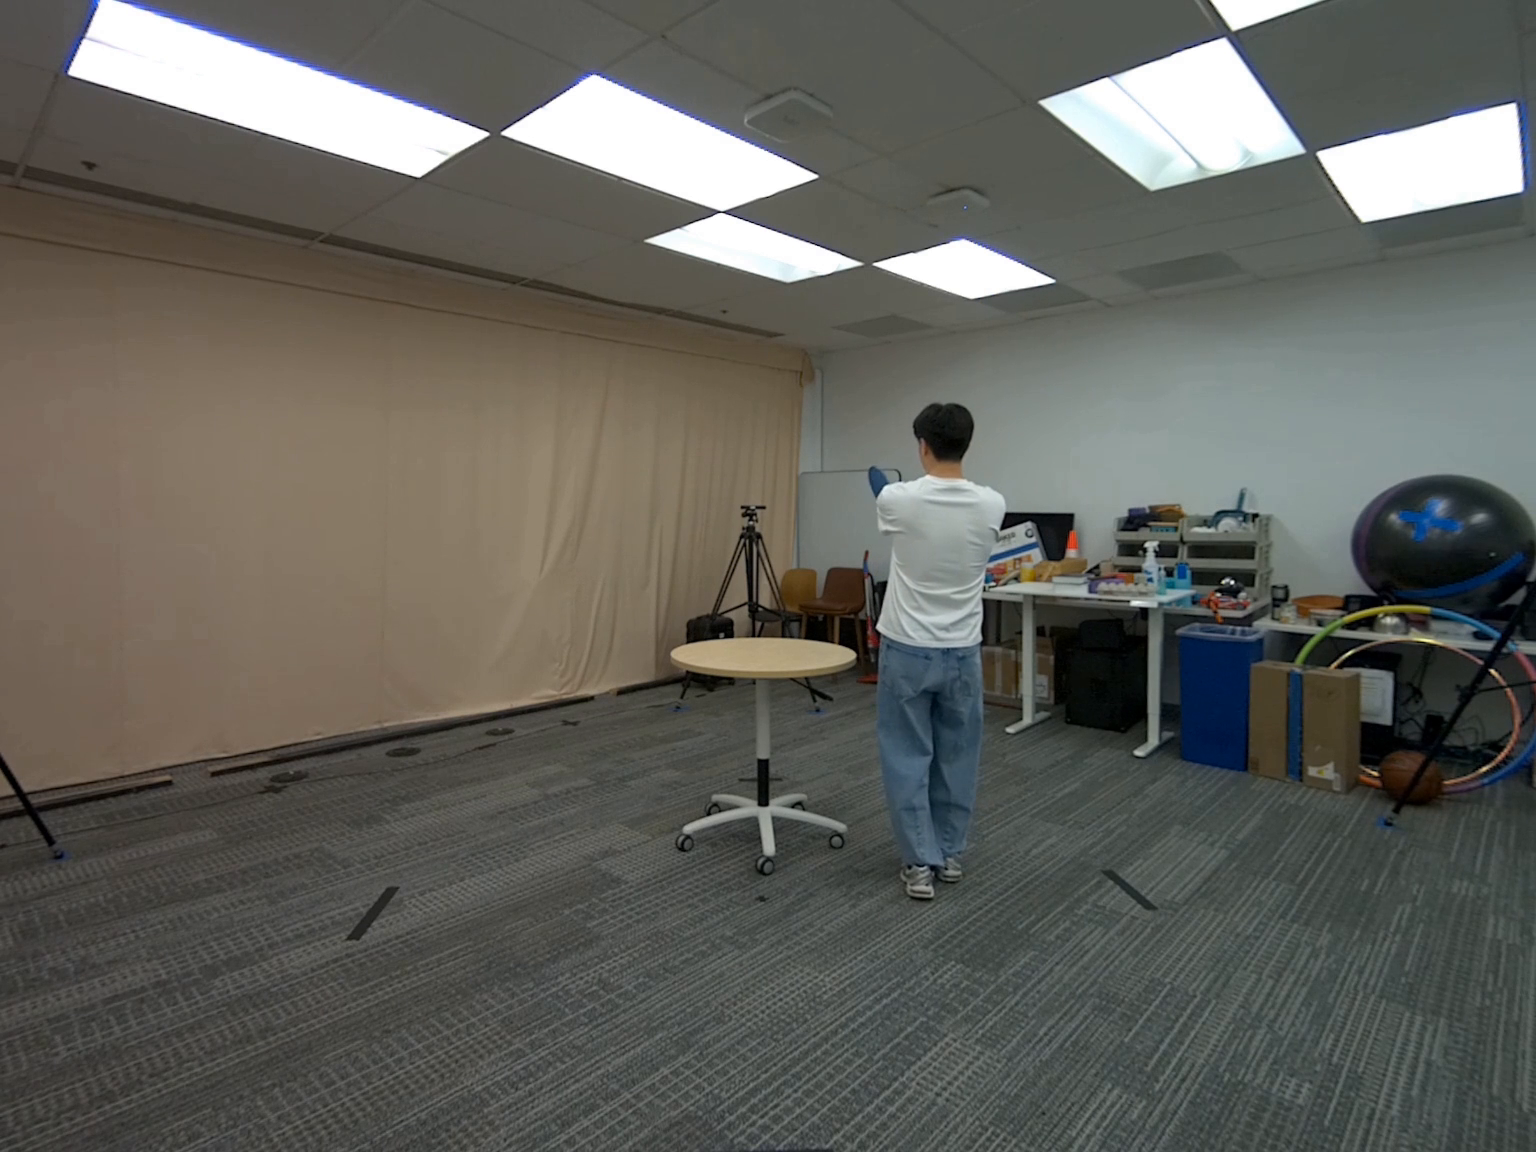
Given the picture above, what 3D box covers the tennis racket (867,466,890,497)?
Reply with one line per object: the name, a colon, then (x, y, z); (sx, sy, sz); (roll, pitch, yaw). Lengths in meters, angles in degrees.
tennis racket: (0.557, -0.370, 3.787); (0.031, 0.209, 0.445); (-19, 26, -10)
